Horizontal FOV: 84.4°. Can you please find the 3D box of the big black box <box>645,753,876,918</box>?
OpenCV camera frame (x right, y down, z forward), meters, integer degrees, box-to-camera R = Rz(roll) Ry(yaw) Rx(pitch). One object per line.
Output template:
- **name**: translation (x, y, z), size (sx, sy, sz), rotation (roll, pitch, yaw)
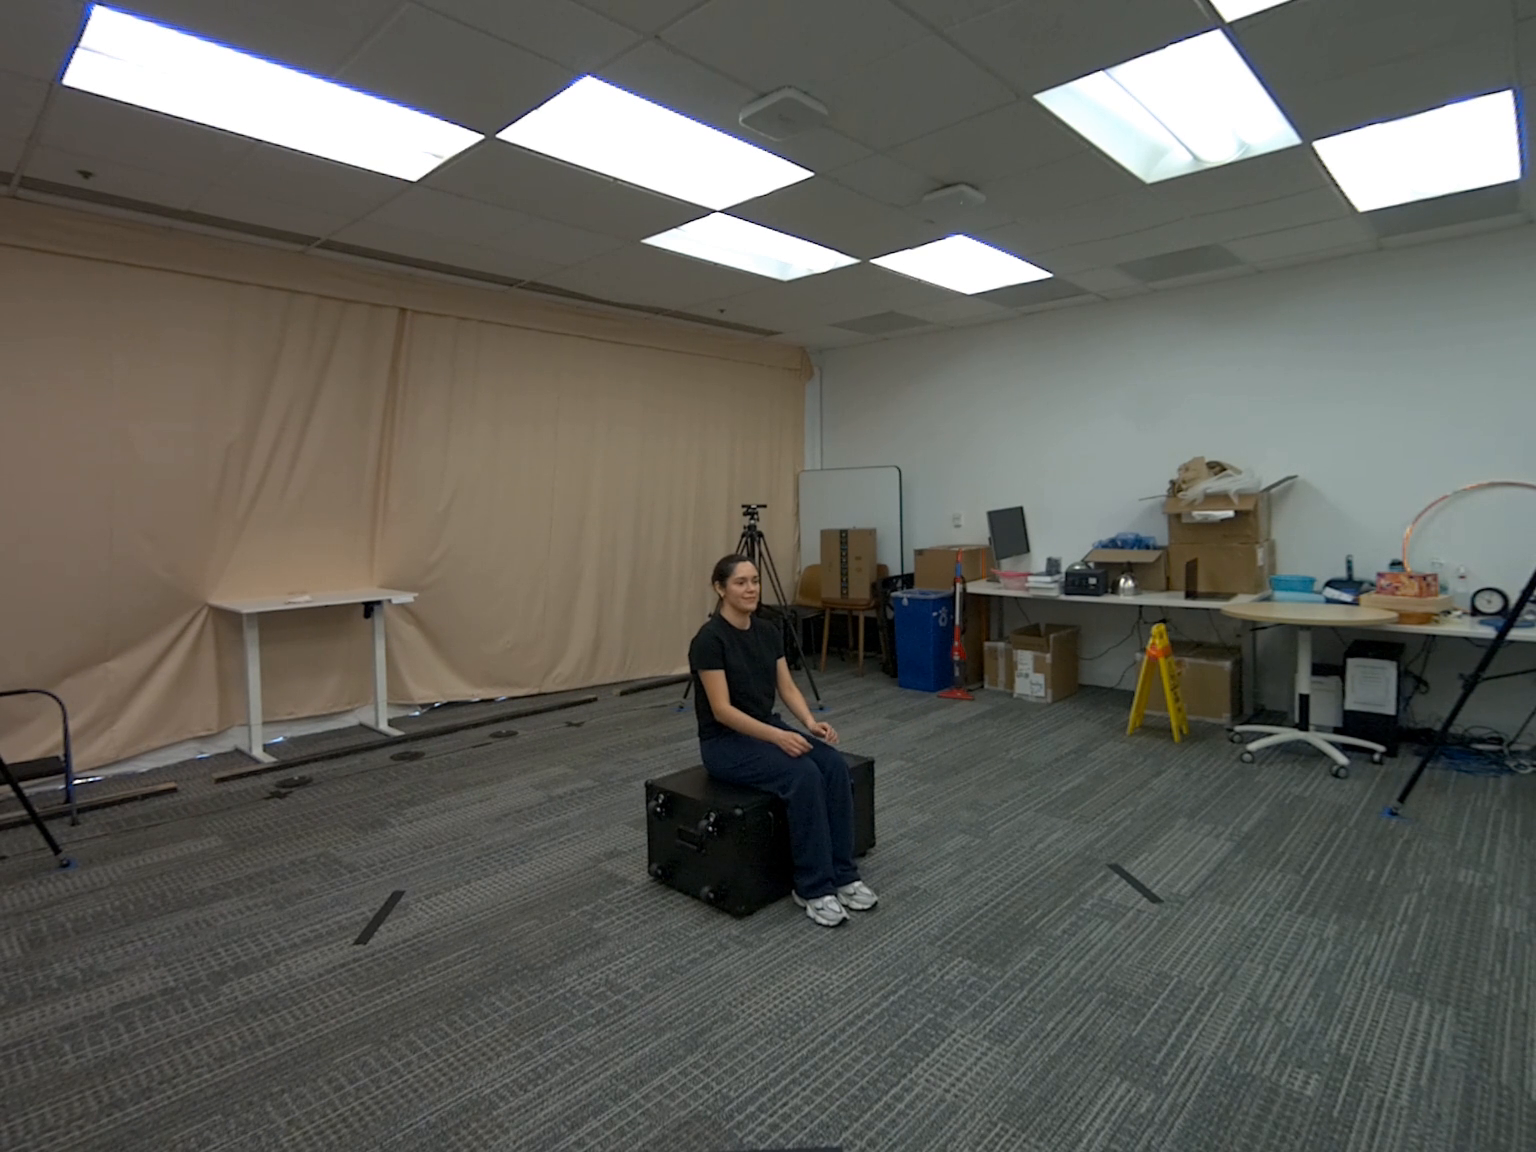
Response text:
- **big black box**: translation (-0.023, 0.933, 3.217), size (0.538, 0.395, 0.835), rotation (2, 5, 43)
